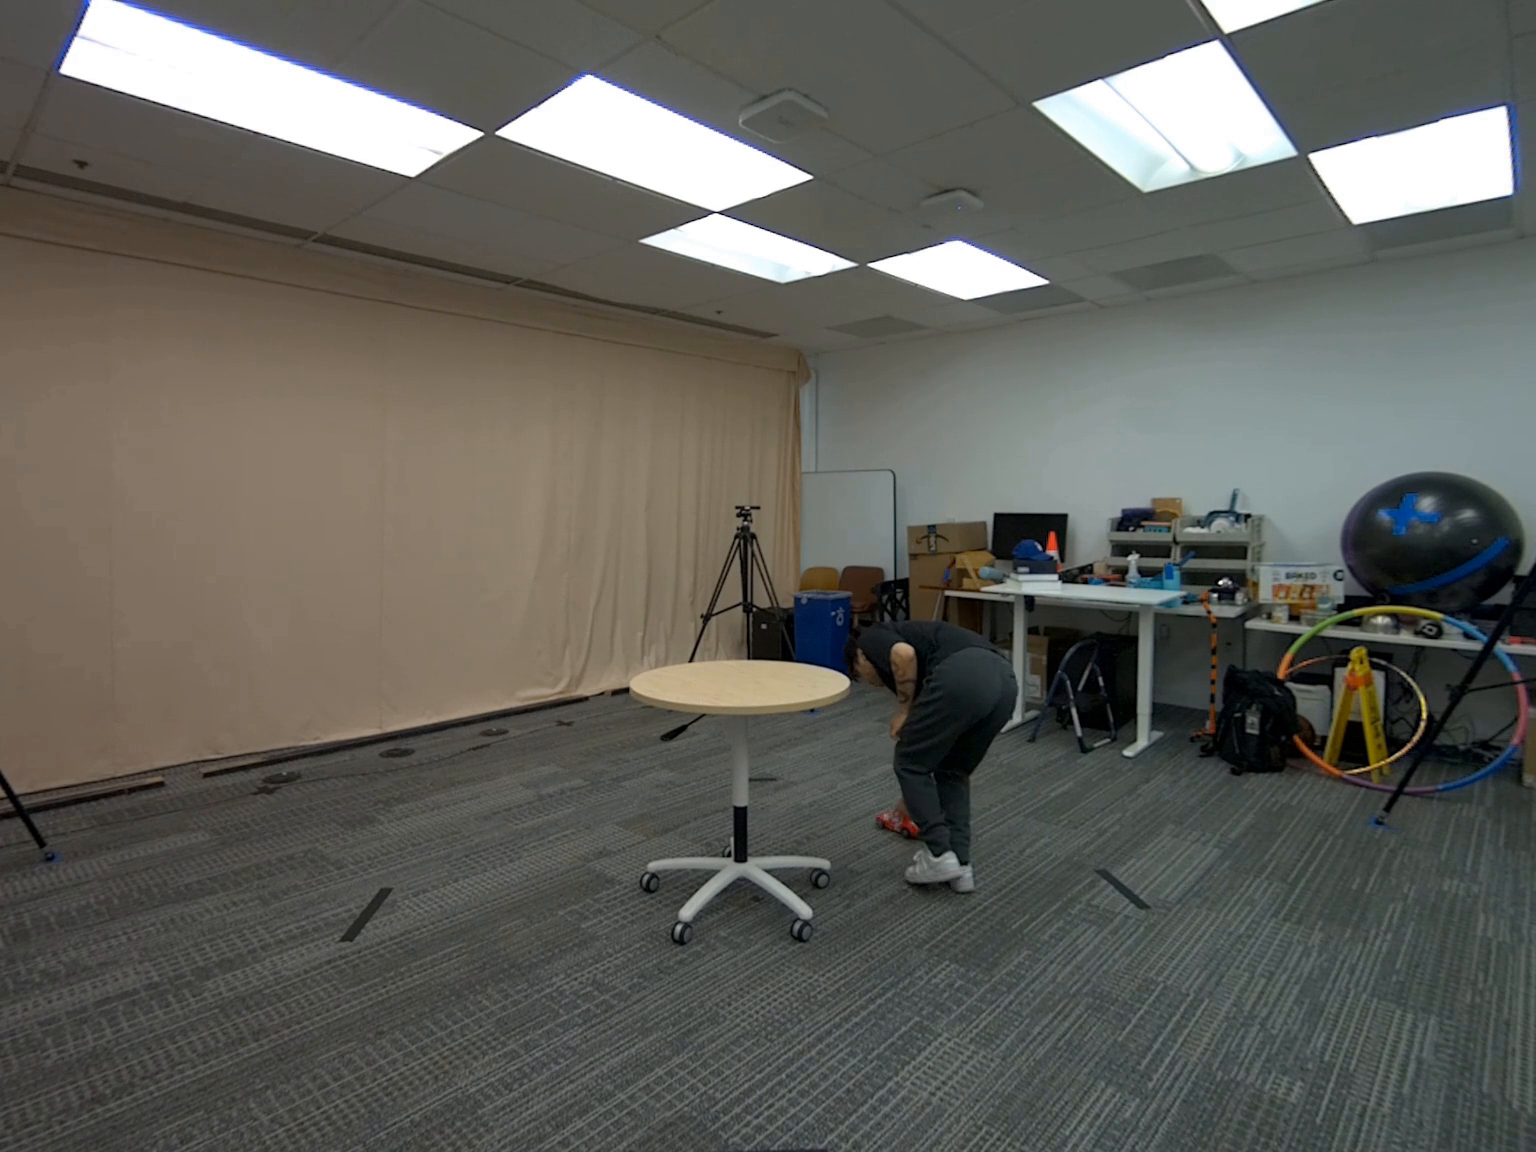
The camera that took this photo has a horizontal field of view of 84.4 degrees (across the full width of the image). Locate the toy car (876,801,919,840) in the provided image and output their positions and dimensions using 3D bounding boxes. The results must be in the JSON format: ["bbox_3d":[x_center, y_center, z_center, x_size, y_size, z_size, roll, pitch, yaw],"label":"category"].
[{"bbox_3d":[0.585,1.064,3.600,0.126,0.083,0.261,-3,-5,-39],"label":"toy car"}]
